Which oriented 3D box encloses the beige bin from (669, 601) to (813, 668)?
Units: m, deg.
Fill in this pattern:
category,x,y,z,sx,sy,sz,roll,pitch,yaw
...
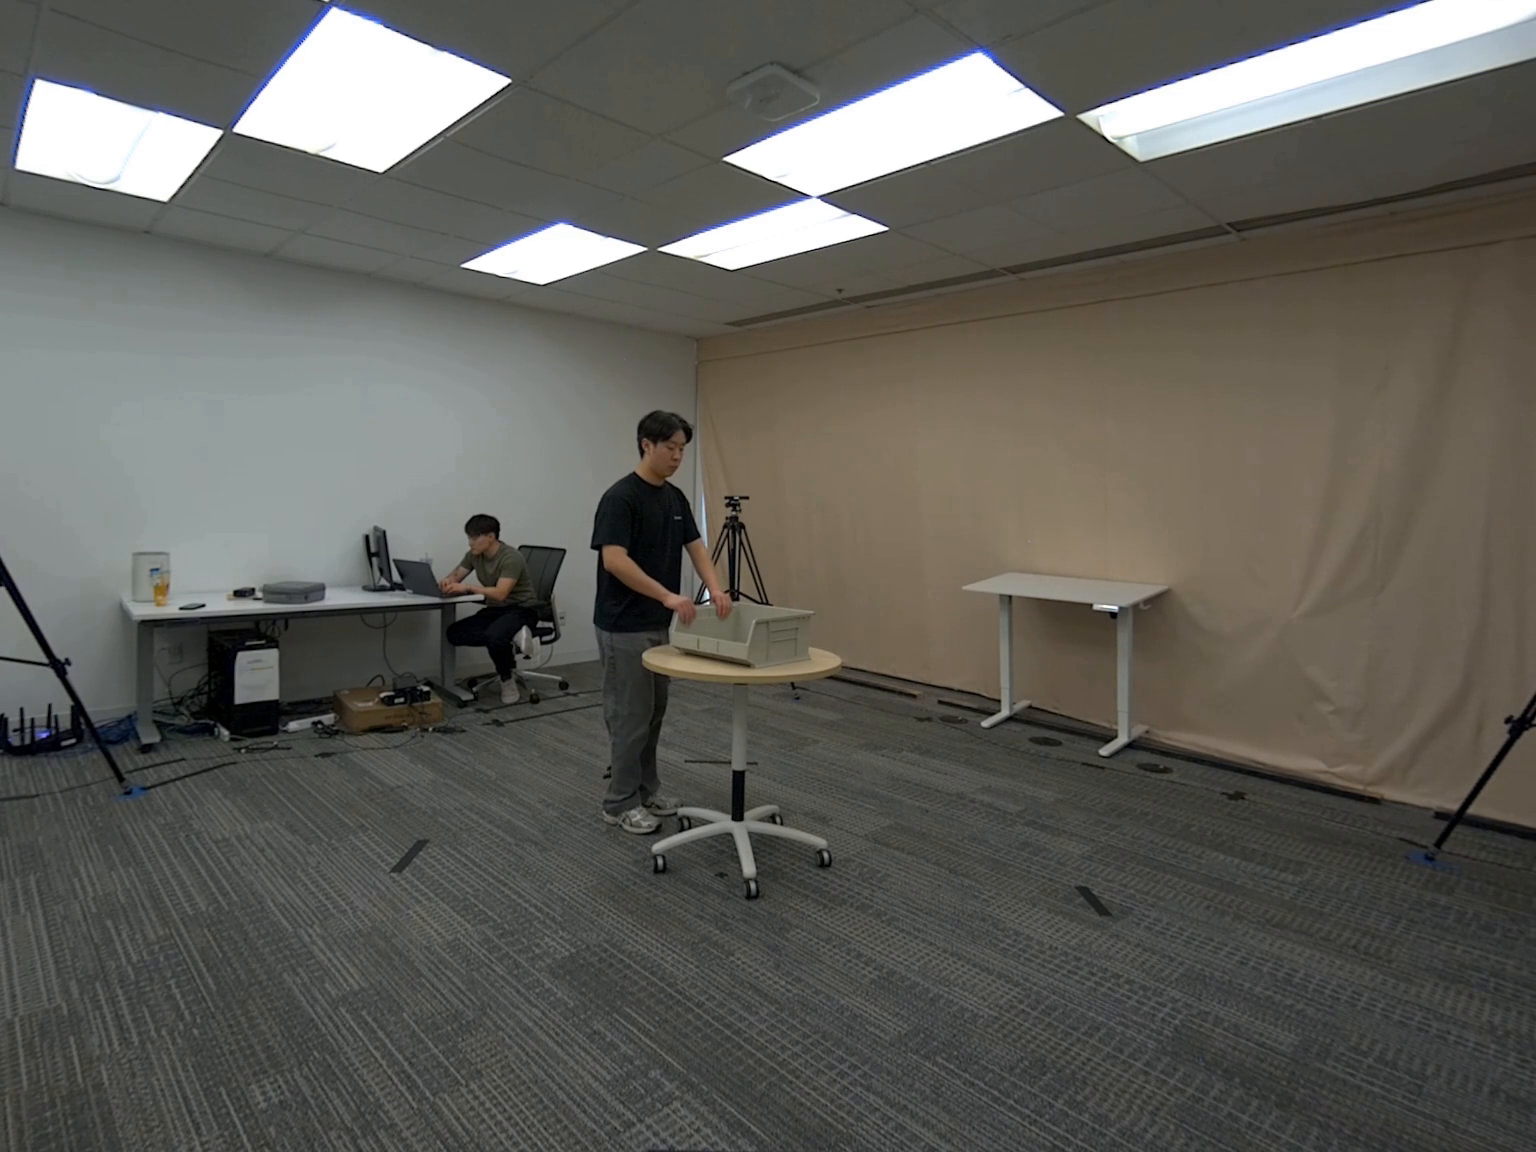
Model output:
category,x,y,z,sx,sy,sz,roll,pitch,yaw
beige bin,-0.107,0.222,3.230,0.433,0.189,0.368,5,4,42
